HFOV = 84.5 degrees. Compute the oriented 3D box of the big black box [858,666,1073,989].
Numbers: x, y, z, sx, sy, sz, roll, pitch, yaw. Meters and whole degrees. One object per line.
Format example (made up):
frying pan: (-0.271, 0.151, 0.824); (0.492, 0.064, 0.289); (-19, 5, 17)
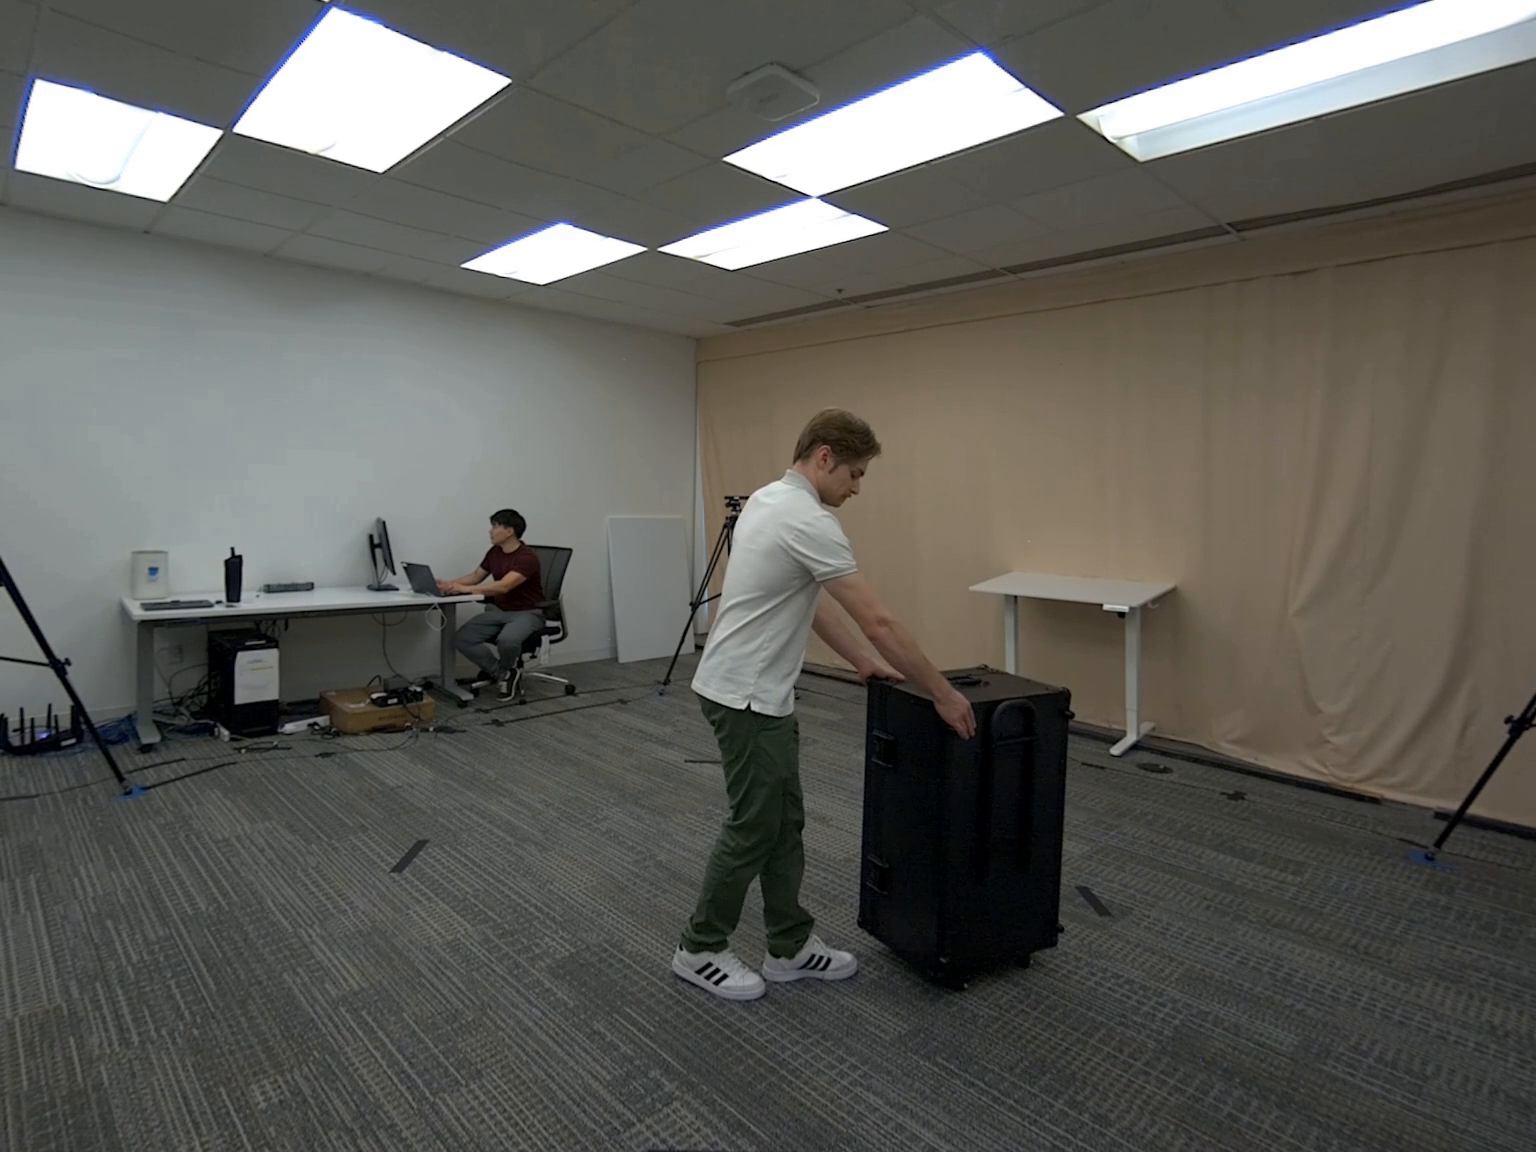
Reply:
big black box: (0.591, 0.750, 2.557); (0.513, 0.866, 0.394); (-1, 5, -30)
